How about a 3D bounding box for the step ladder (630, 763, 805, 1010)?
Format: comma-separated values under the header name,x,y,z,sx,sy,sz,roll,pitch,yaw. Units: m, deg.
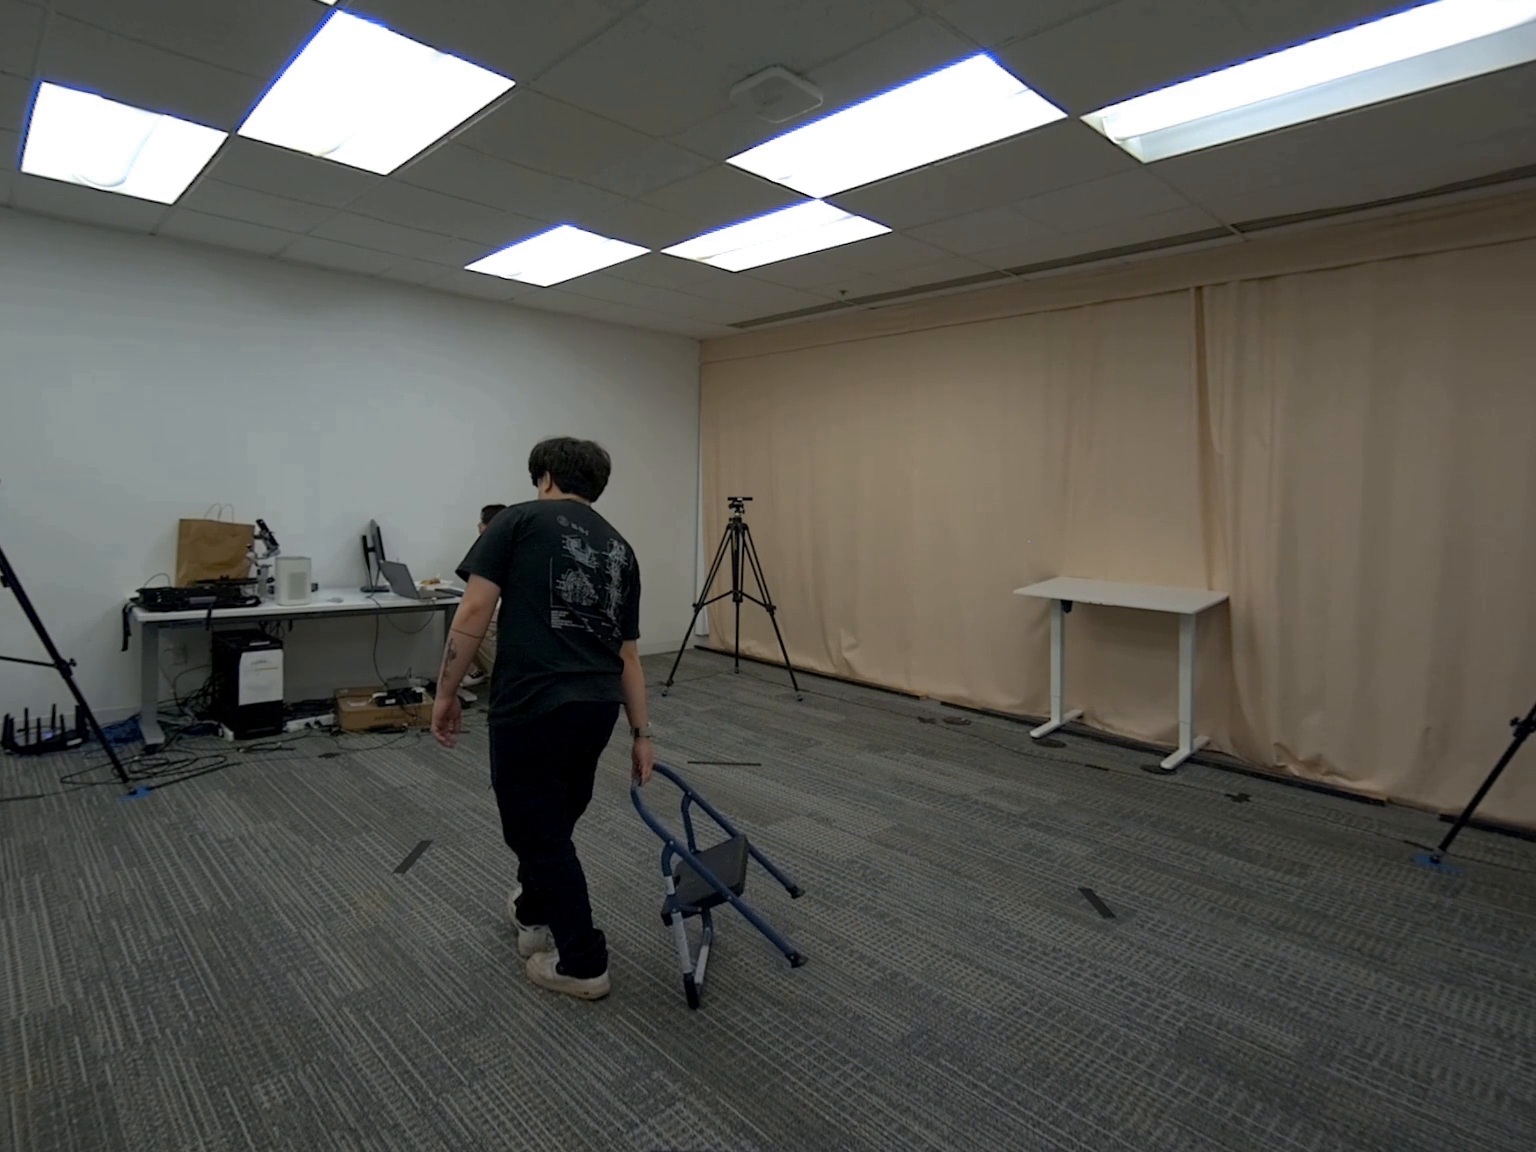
name,x,y,z,sx,sy,sz,roll,pitch,yaw
step ladder,-0.177,0.831,2.468,0.350,0.606,0.430,-25,1,4
